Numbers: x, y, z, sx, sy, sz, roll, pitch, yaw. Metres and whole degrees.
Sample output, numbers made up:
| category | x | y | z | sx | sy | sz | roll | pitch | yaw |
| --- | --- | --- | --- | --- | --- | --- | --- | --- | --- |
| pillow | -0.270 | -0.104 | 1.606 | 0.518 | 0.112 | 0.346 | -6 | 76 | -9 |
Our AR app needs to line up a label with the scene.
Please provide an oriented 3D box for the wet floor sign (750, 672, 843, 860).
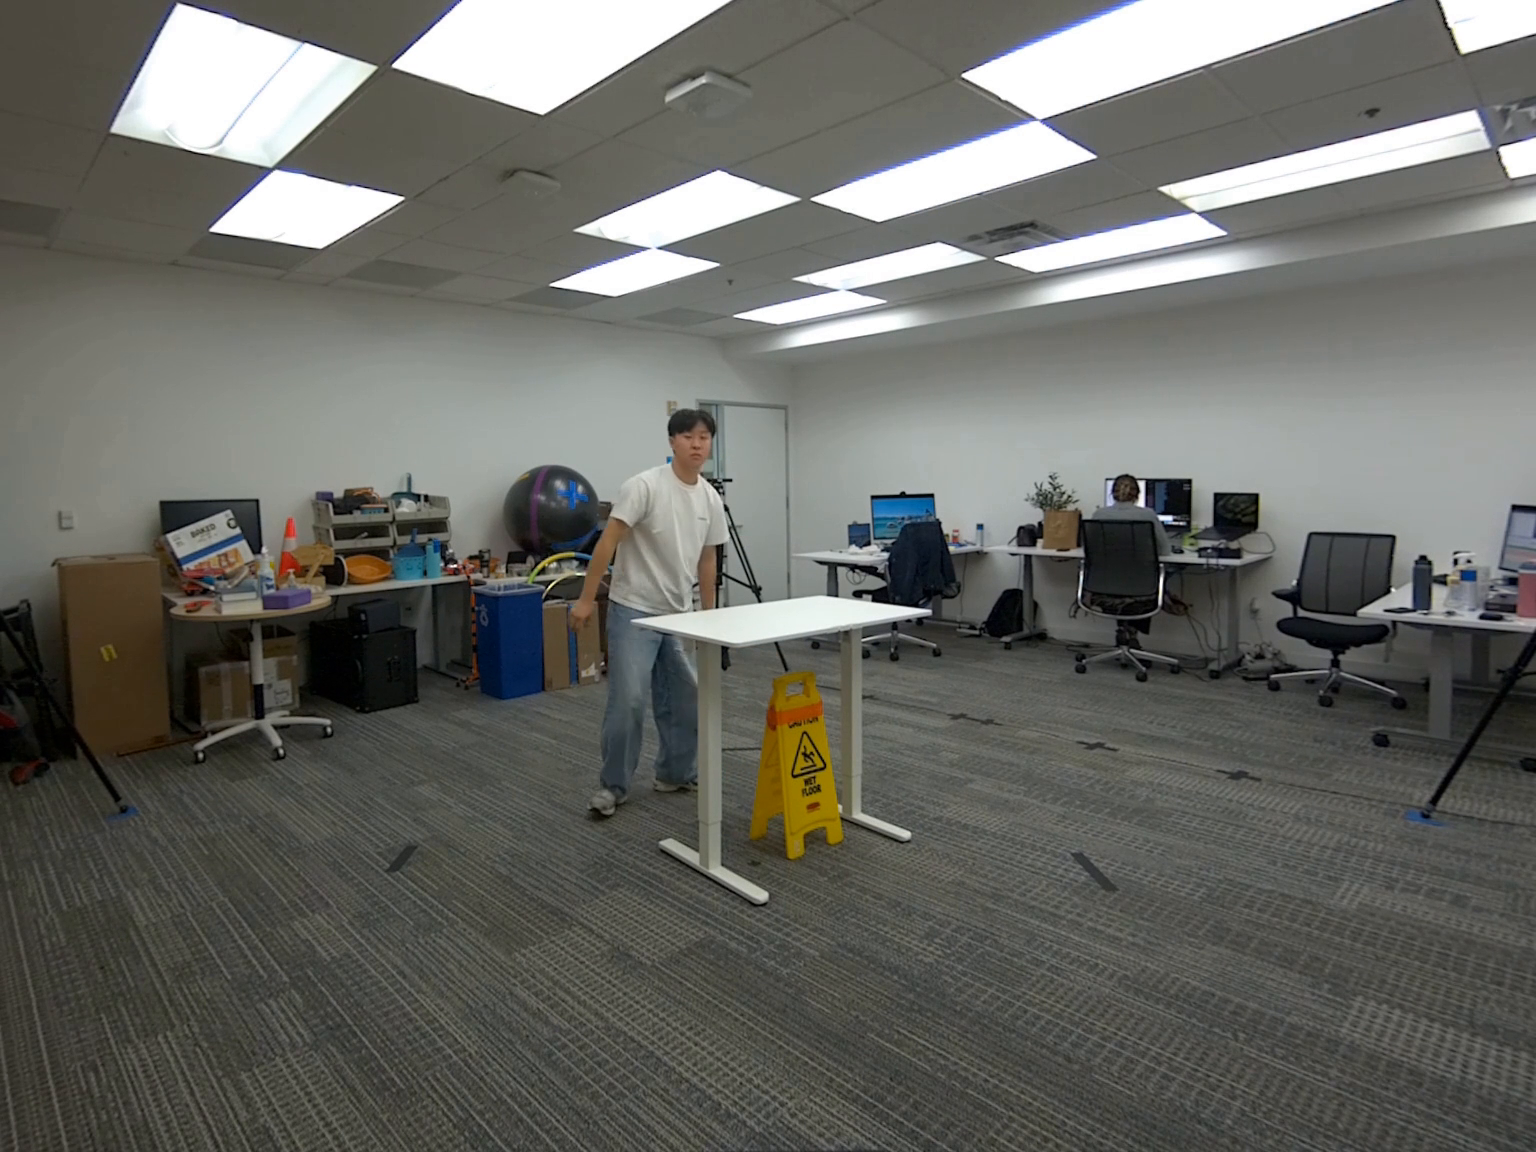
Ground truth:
| category | x | y | z | sx | sy | sz | roll | pitch | yaw |
| --- | --- | --- | --- | --- | --- | --- | --- | --- | --- |
| wet floor sign | 0.109 | 0.696 | 3.282 | 0.275 | 0.643 | 0.298 | -4 | 5 | -38 |
